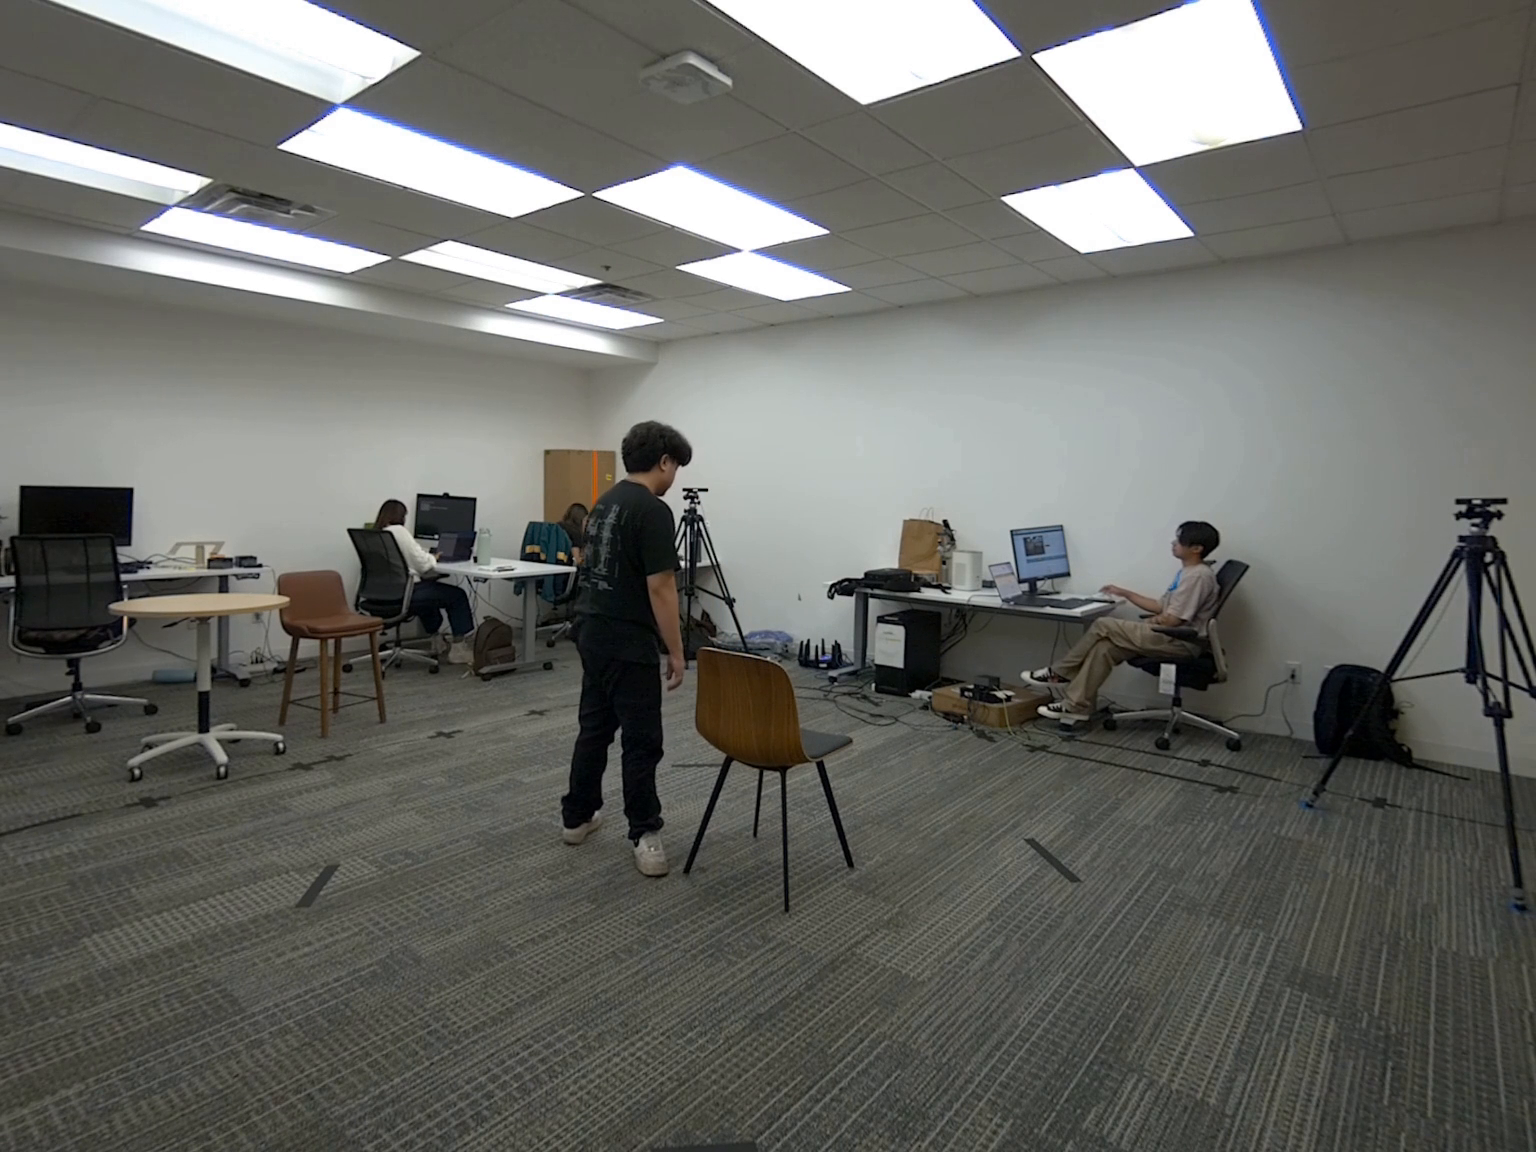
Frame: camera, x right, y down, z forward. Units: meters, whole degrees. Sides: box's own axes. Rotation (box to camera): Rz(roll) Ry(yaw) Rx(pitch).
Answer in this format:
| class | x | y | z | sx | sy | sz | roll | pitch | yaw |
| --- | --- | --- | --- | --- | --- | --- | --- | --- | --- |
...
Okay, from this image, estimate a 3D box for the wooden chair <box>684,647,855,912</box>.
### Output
| class | x | y | z | sx | sy | sz | roll | pitch | yaw |
| --- | --- | --- | --- | --- | --- | --- | --- | --- | --- |
| wooden chair | 0.012 | 0.648 | 3.088 | 0.493 | 0.872 | 0.510 | 3 | 8 | 36 |
